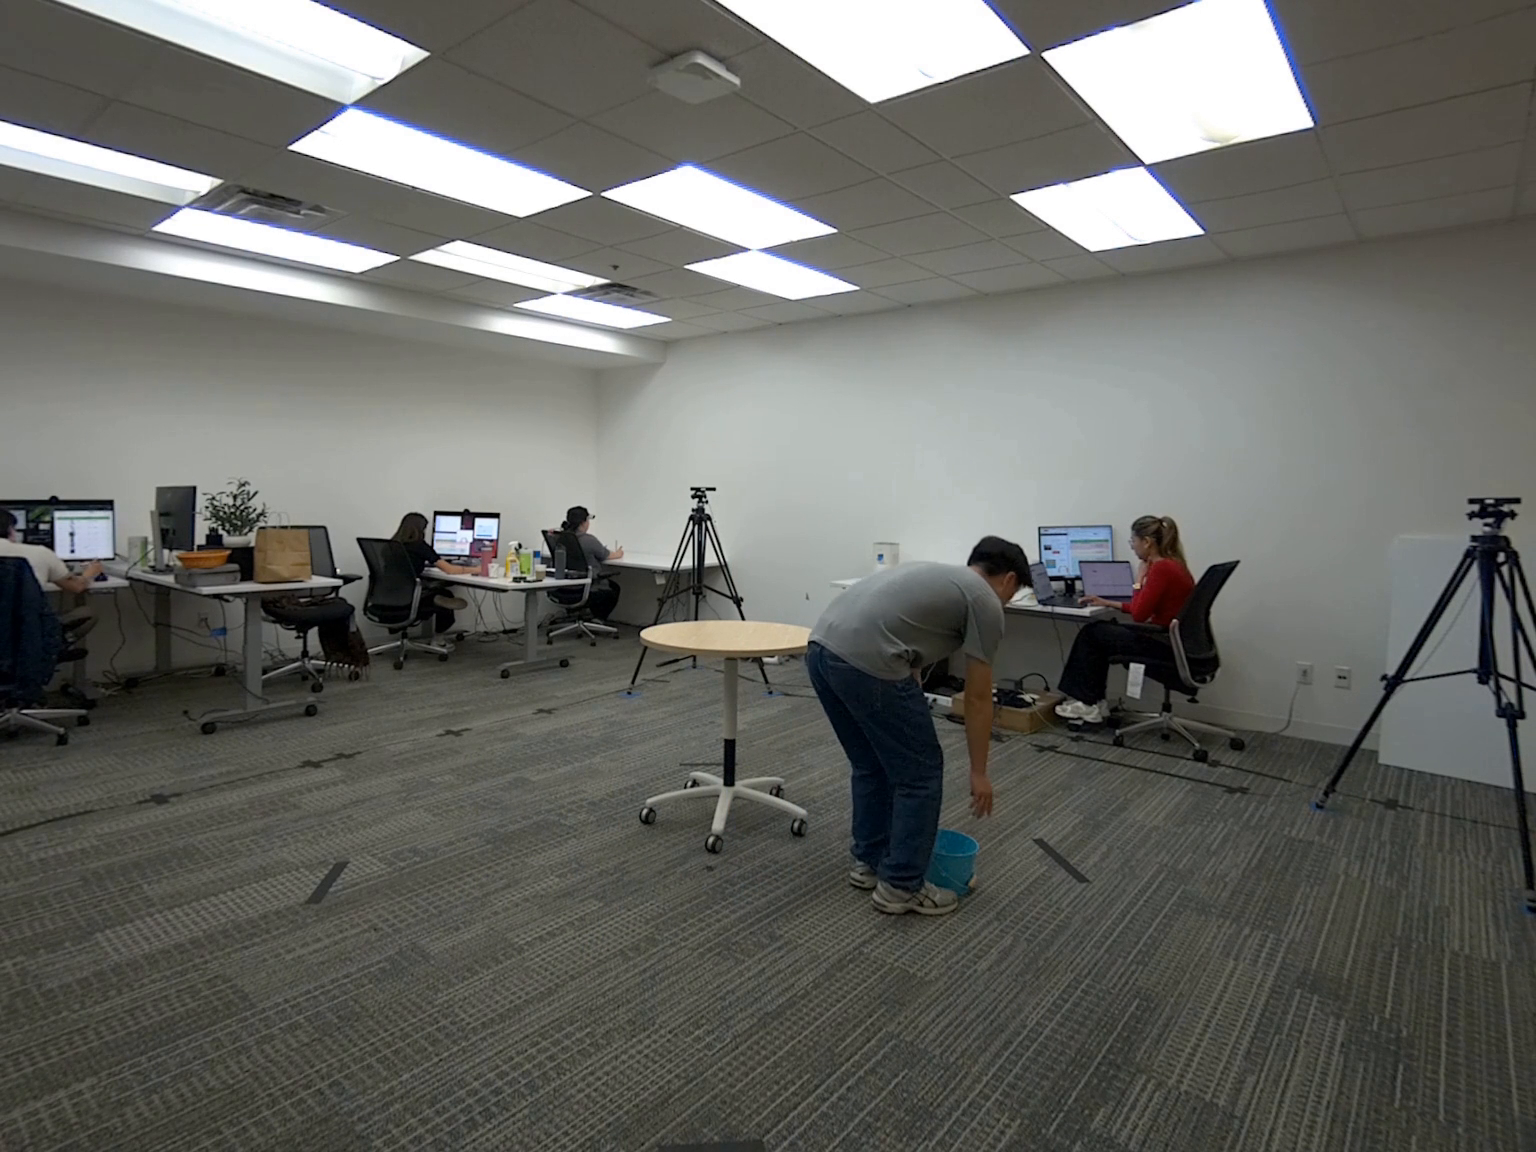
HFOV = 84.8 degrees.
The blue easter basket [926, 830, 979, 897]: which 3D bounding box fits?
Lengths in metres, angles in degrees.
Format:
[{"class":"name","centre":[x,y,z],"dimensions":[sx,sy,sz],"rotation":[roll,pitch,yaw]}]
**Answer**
[{"class":"blue easter basket","centre":[0.617,1.018,3.024],"dimensions":[0.243,0.155,0.245],"rotation":[2,6,-2]}]
